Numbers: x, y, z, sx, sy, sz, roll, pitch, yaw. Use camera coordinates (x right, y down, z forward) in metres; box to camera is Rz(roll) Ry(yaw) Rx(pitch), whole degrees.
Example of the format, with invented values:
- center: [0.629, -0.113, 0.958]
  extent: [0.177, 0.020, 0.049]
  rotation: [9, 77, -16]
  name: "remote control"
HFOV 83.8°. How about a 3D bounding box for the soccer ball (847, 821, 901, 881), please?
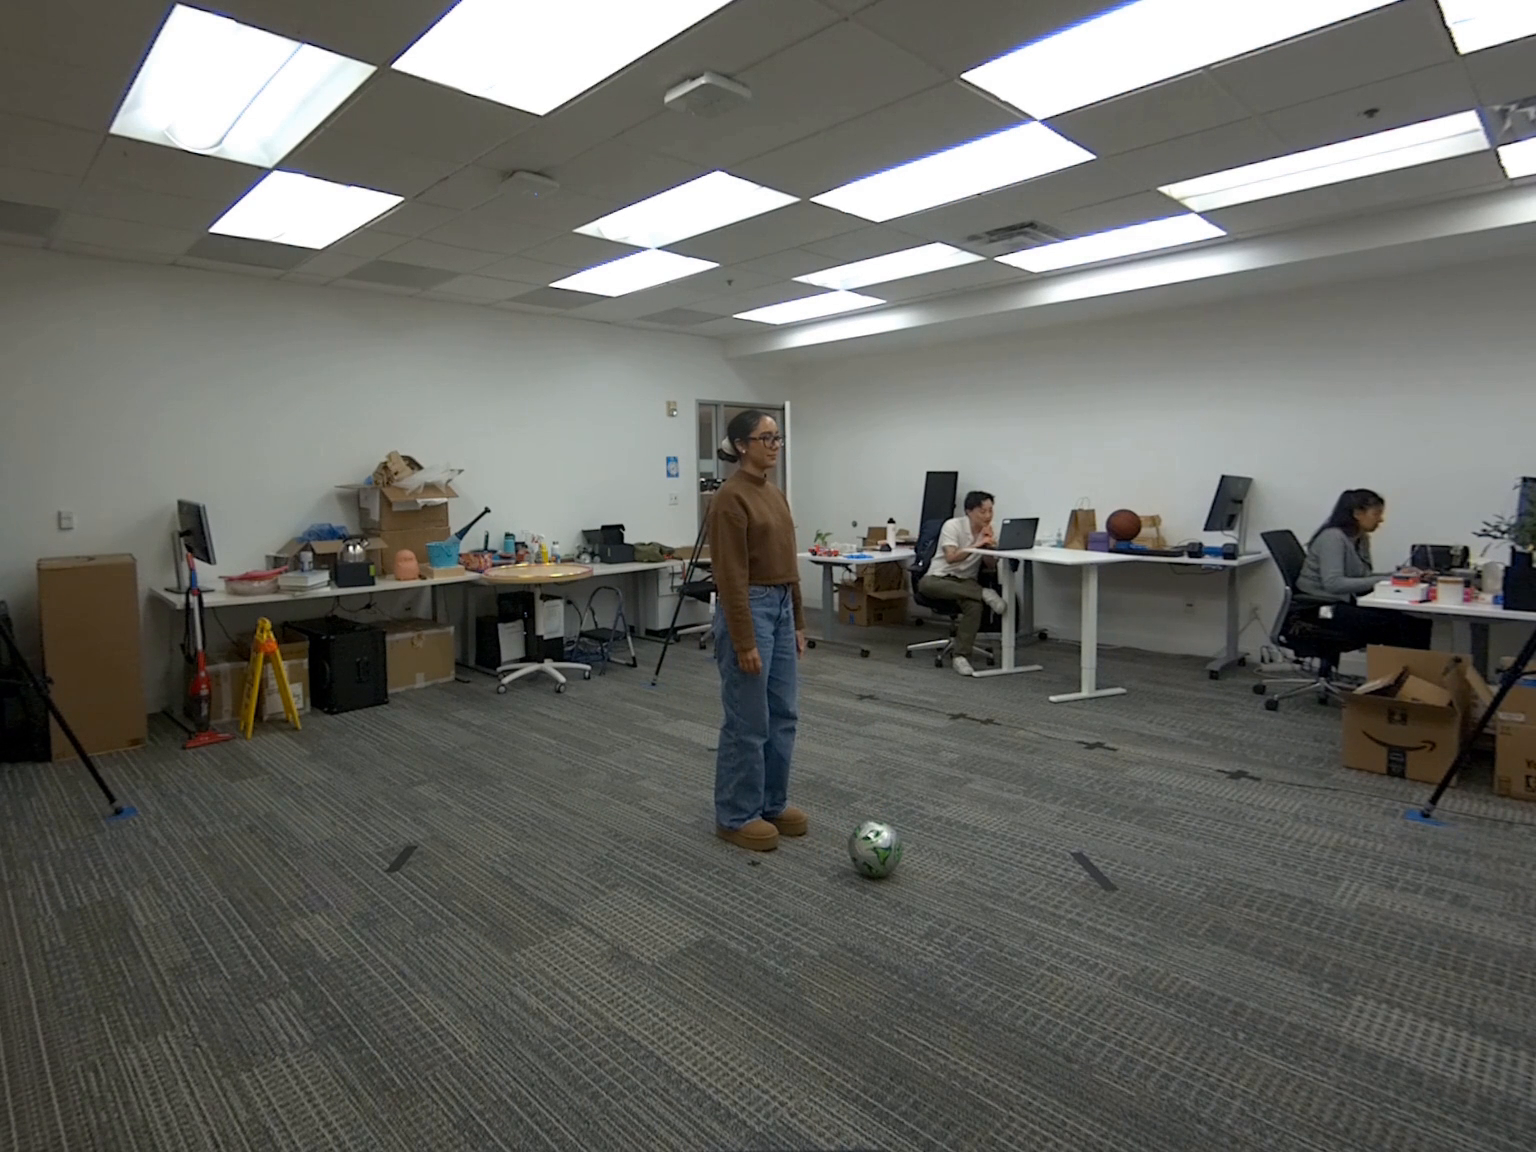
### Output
- center: [0.379, 0.956, 2.999]
  extent: [0.187, 0.187, 0.188]
  rotation: [-1, 5, -2]
  name: "soccer ball"
